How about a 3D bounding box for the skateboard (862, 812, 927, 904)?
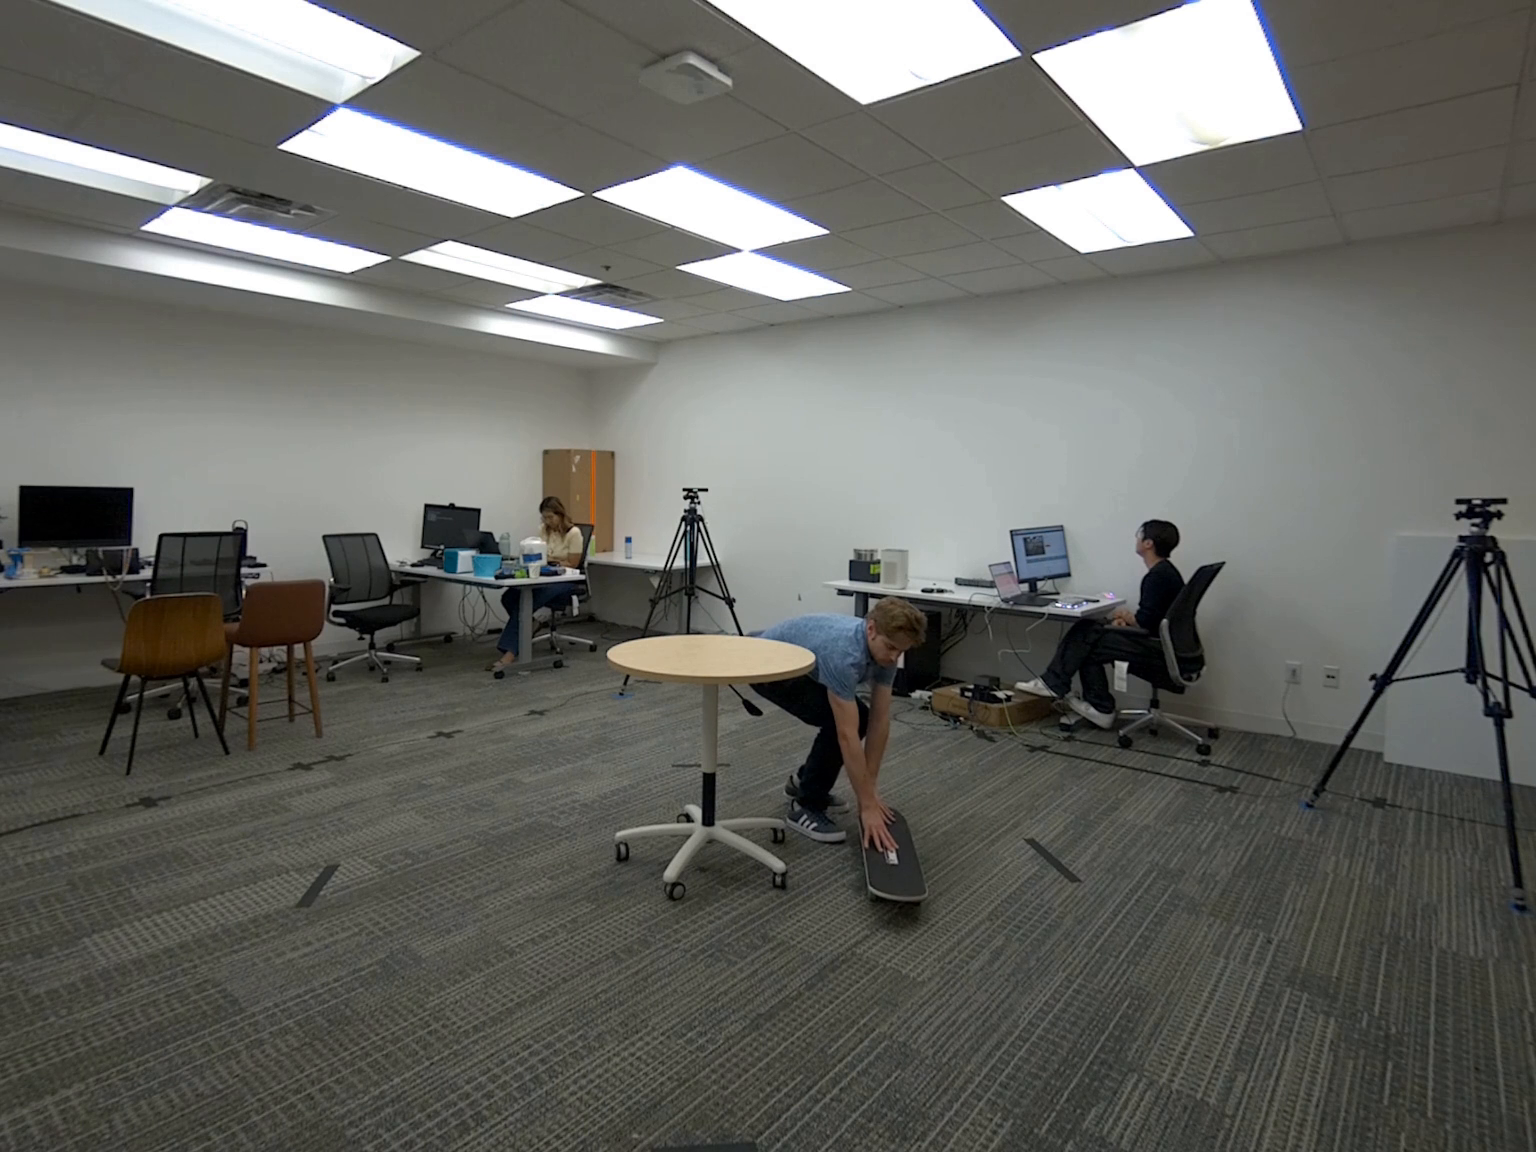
[{"bbox_3d":[0.430,1.027,3.091,0.194,0.110,0.786,1,6,2],"label":"skateboard"}]
